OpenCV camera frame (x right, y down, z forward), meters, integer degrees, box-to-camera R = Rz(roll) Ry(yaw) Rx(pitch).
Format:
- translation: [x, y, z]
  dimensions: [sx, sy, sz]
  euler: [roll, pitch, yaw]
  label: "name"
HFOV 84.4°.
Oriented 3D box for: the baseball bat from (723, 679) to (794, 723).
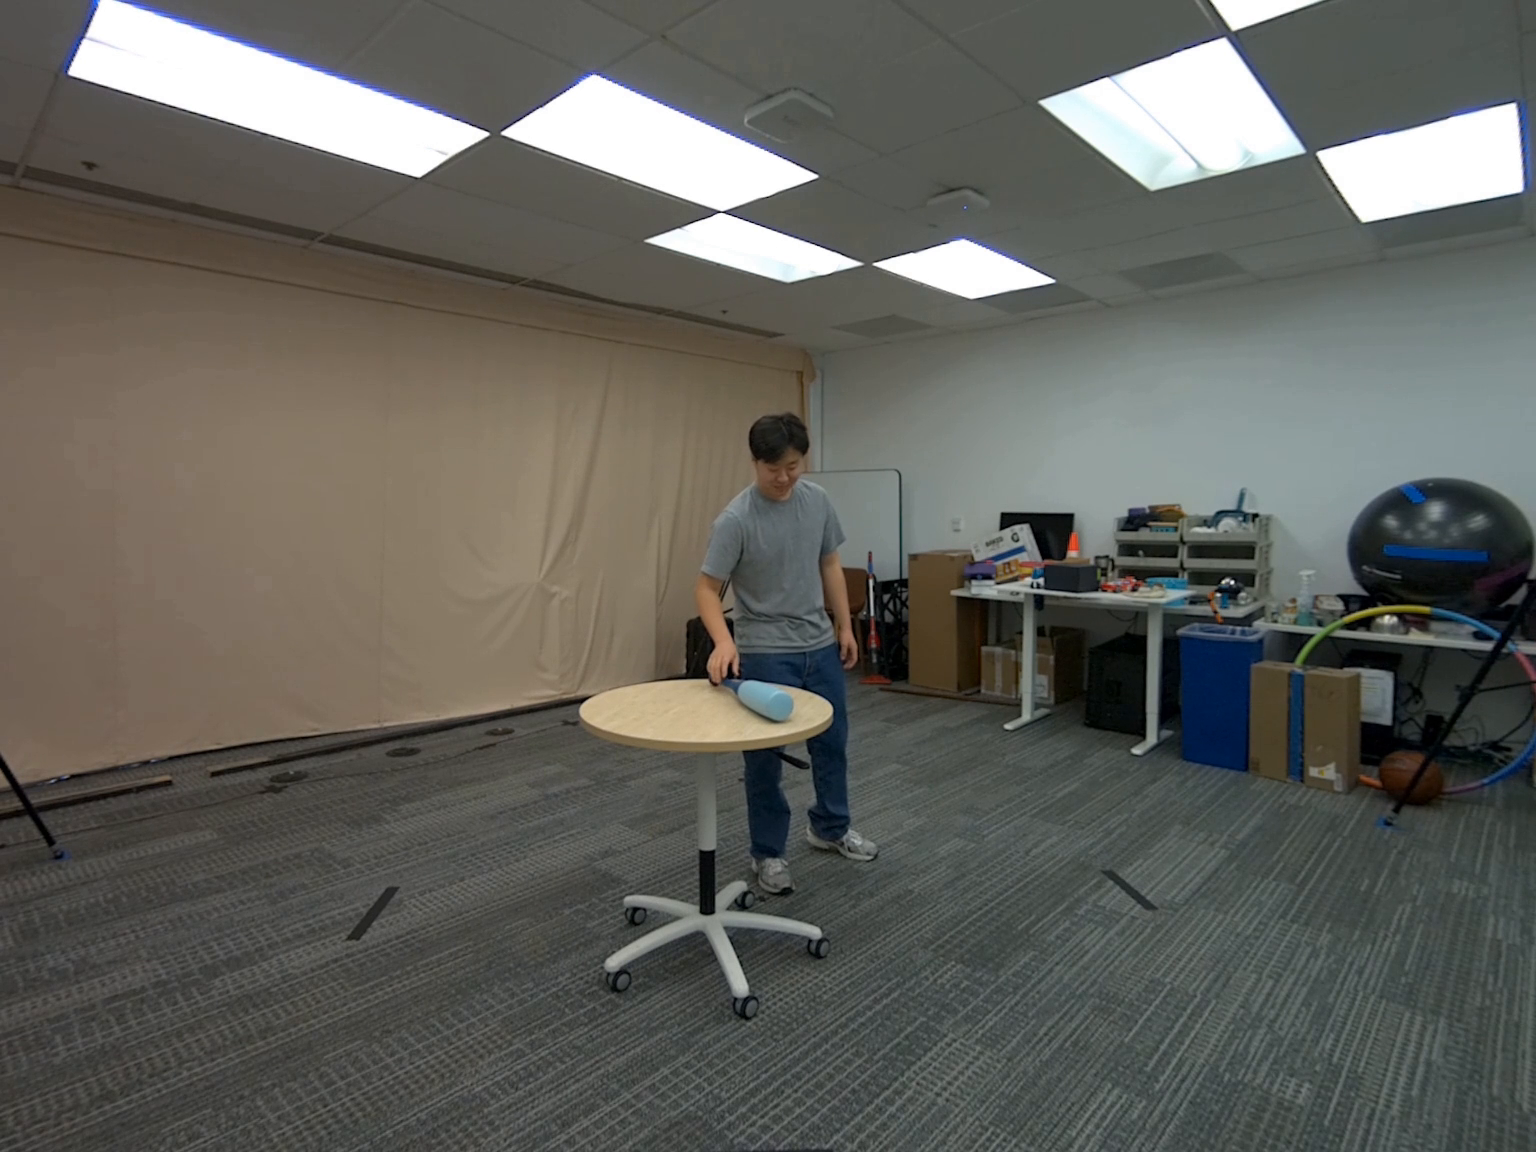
- translation: [-0.070, 0.358, 2.600]
  dimensions: [0.087, 0.089, 0.555]
  euler: [-1, 2, -23]
  label: "baseball bat"
